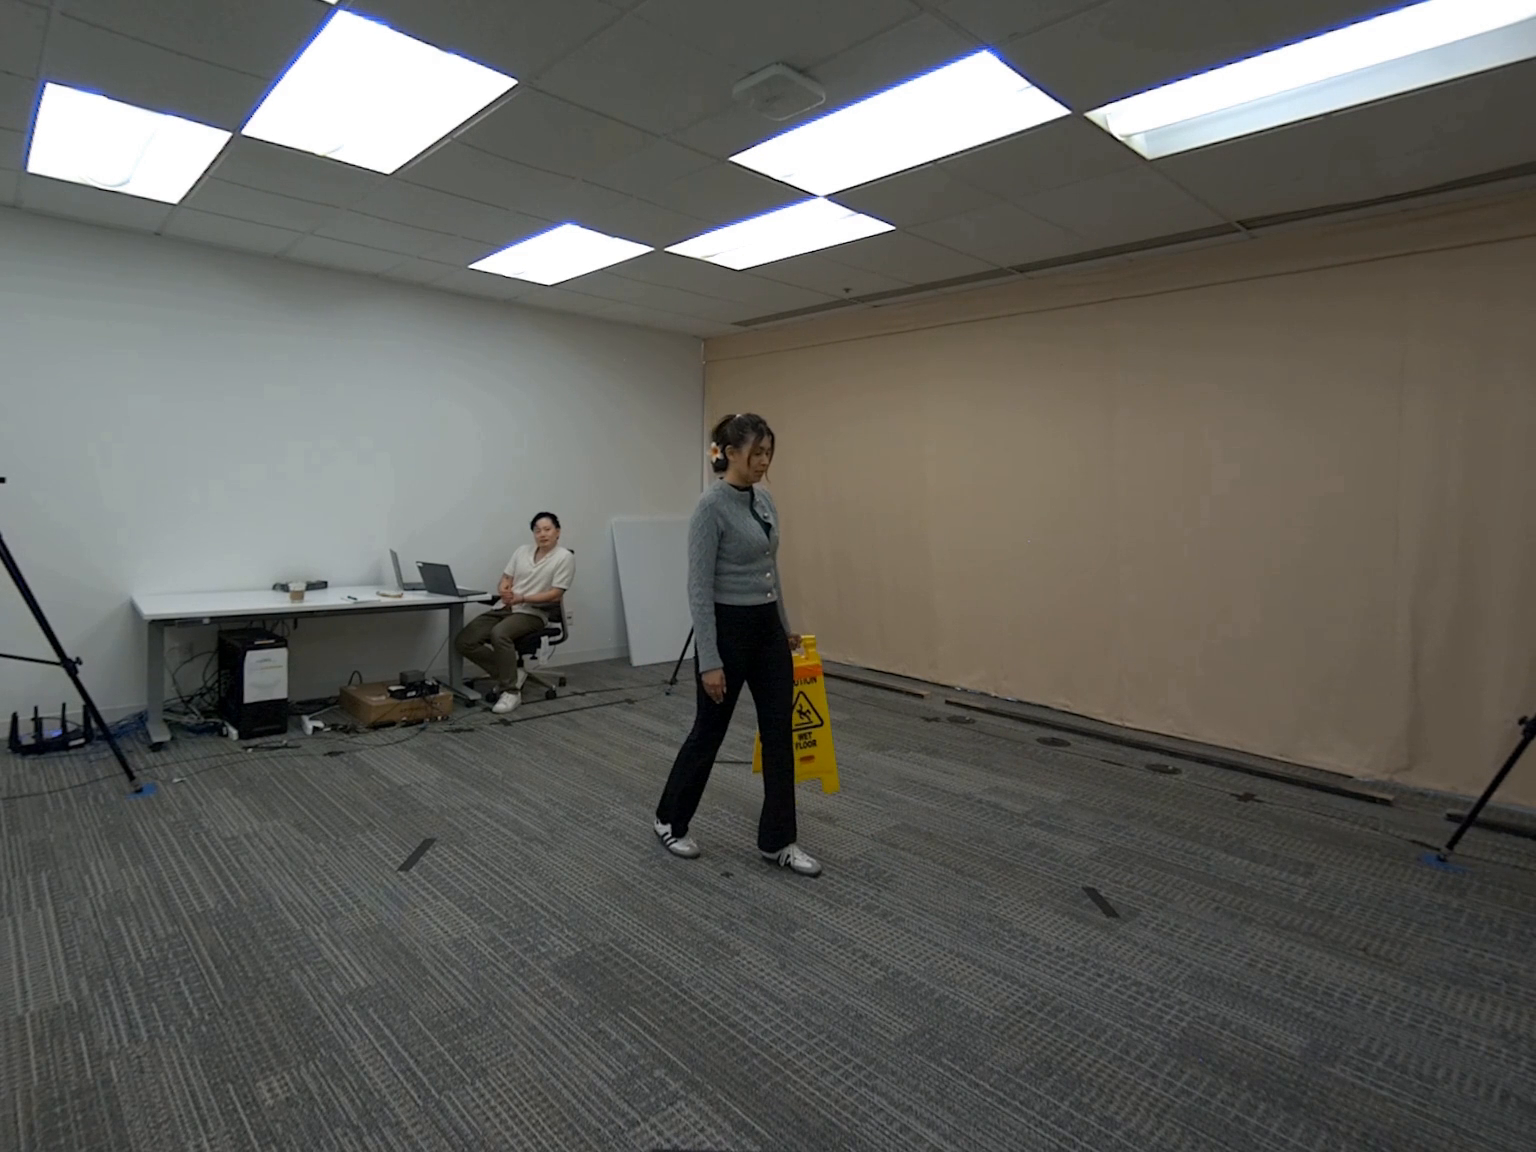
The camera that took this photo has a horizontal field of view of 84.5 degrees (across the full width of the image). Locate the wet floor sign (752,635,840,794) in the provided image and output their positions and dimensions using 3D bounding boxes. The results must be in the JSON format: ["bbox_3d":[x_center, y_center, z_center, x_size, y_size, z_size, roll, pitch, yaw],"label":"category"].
[{"bbox_3d":[0.106,0.566,3.522,0.278,0.639,0.297,-7,14,-21],"label":"wet floor sign"}]
